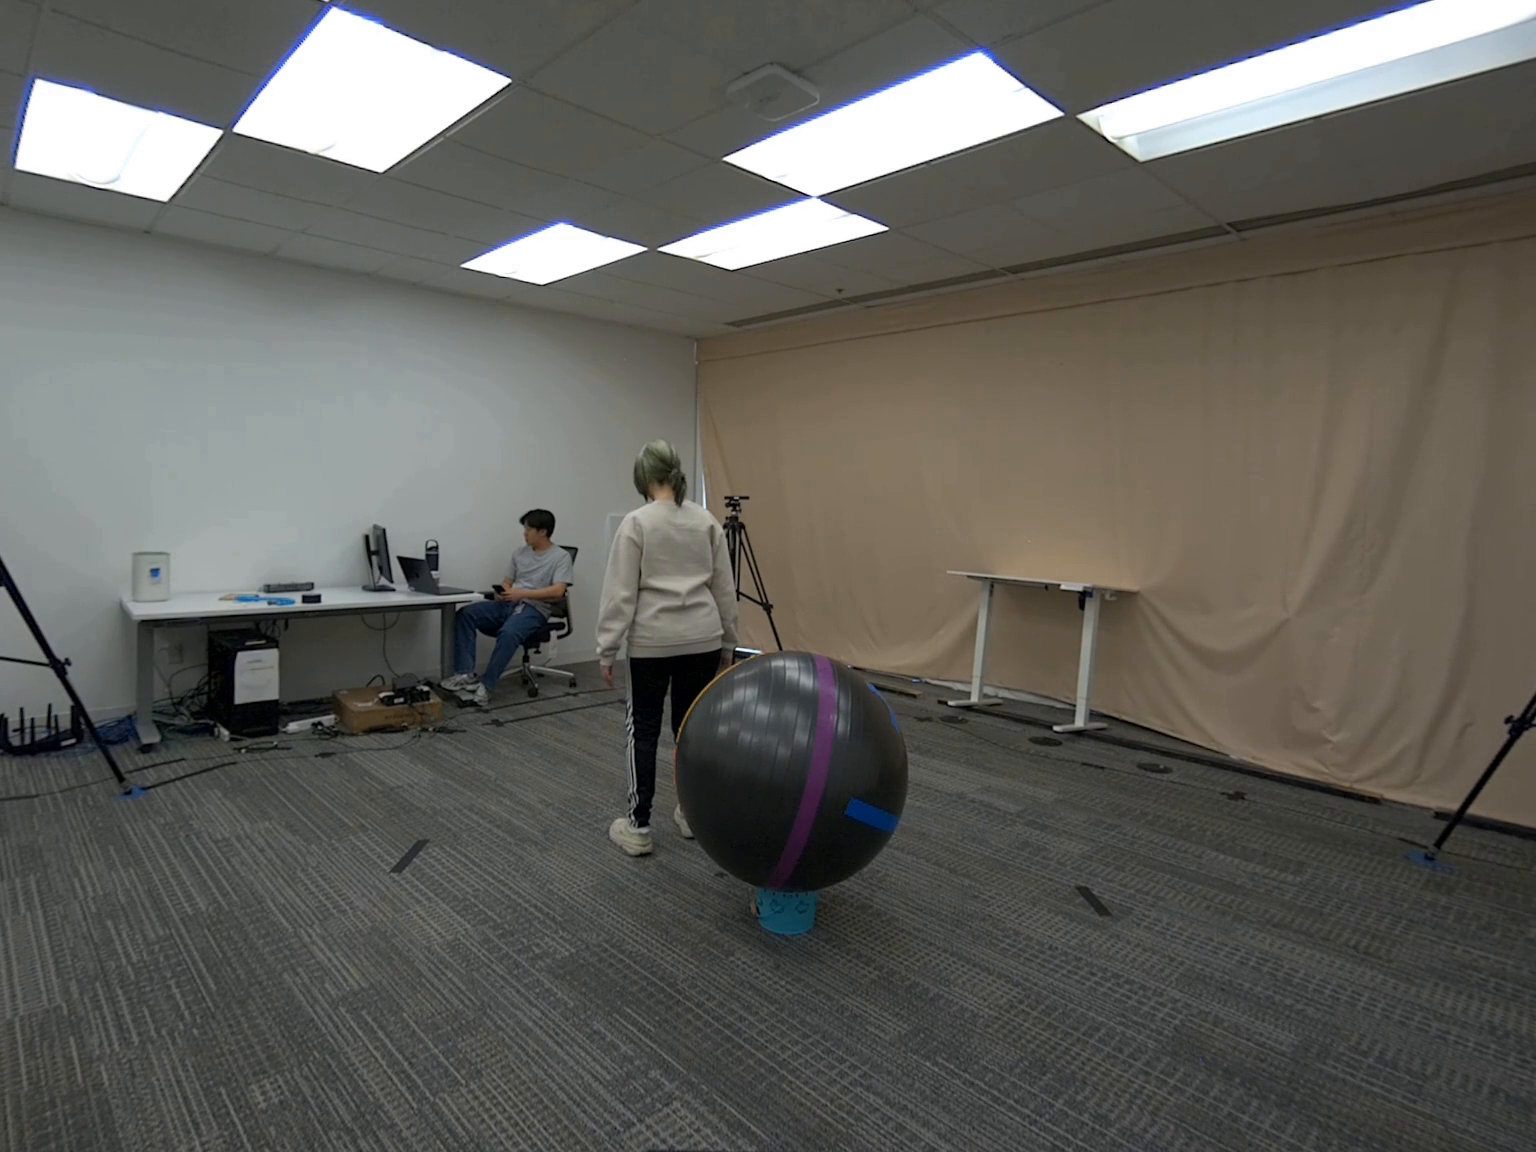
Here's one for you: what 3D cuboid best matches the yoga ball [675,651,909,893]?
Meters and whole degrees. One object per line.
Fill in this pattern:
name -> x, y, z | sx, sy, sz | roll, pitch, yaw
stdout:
yoga ball -> 0.065, 0.632, 2.752 | 0.757, 0.756, 0.761 | 1, 4, -1
